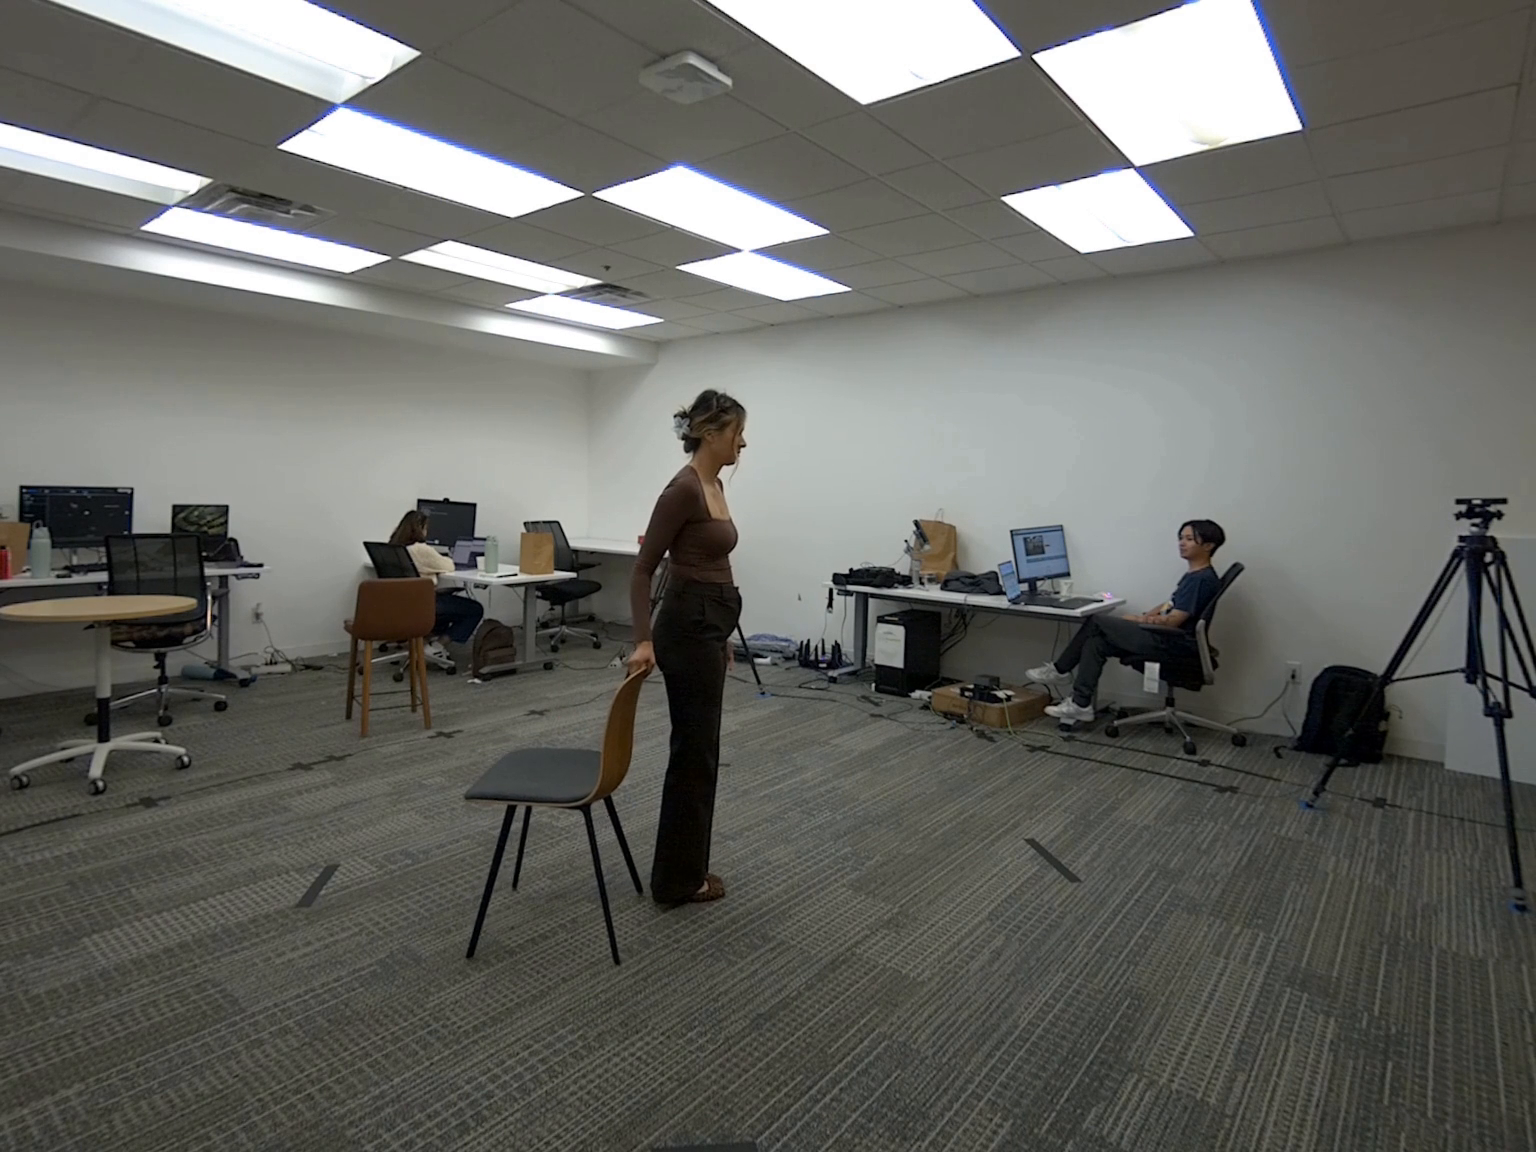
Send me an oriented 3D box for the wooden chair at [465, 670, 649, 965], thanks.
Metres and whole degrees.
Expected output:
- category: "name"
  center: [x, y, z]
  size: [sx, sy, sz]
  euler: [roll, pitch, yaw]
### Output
- category: "wooden chair"
  center: [-0.660, 0.678, 2.667]
  size: [0.525, 0.874, 0.479]
  euler: [5, 4, 1]
